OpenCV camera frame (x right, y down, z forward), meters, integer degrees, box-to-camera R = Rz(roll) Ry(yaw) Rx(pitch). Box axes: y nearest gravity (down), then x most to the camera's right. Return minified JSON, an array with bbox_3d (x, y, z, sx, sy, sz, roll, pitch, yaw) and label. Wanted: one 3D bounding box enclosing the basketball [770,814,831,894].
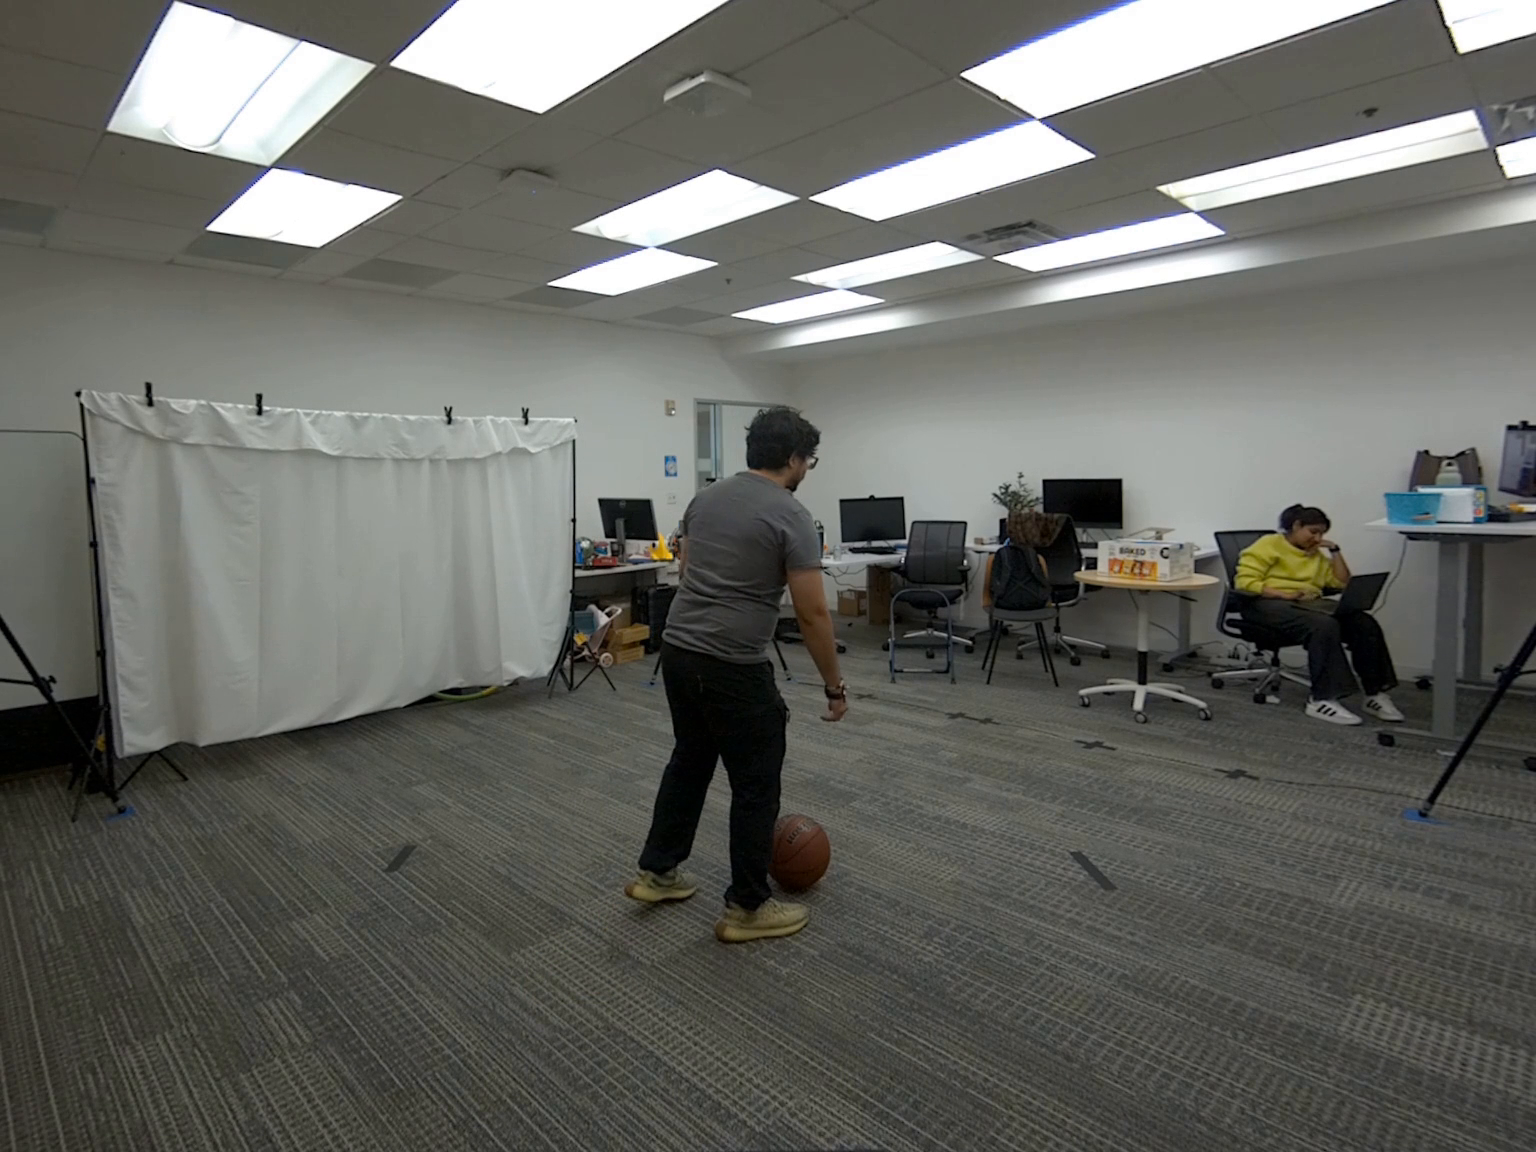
[{"bbox_3d":[0.096,0.938,2.927,0.236,0.235,0.237,-1,5,-2],"label":"basketball"}]
